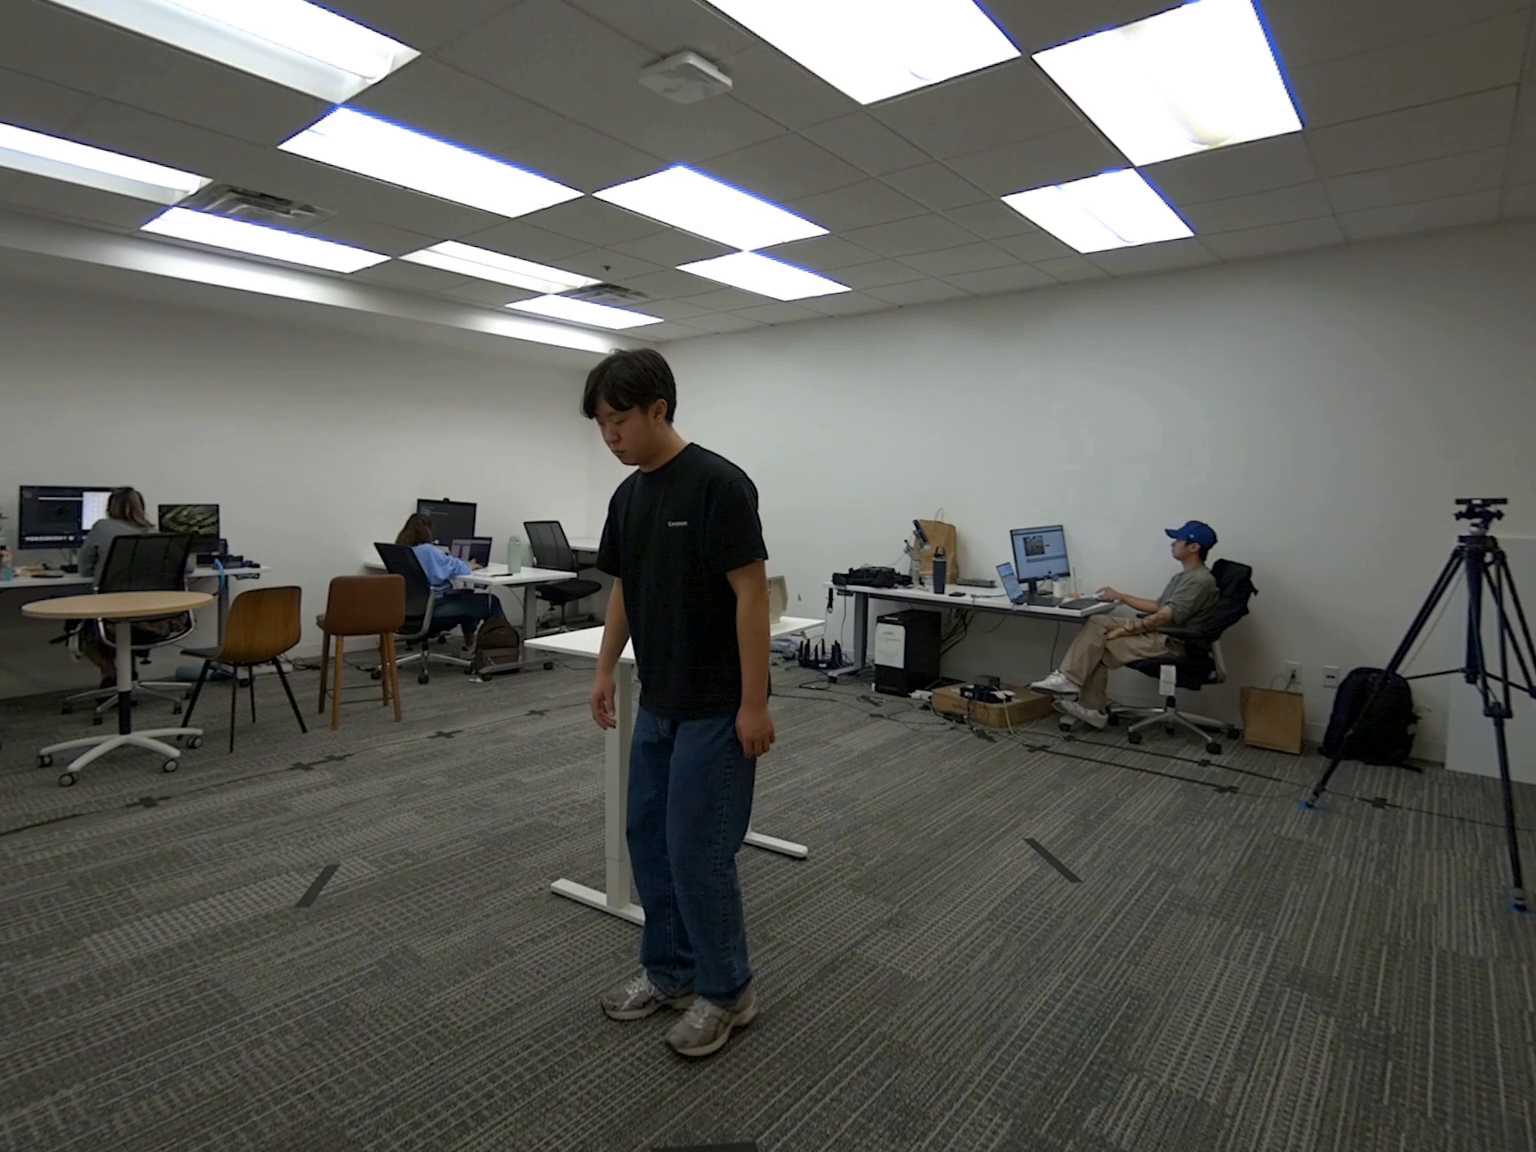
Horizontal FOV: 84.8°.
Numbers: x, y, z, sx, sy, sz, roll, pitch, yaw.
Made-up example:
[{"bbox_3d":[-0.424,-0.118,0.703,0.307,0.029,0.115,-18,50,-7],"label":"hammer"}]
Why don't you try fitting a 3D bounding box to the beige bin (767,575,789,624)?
[{"bbox_3d":[-0.210,0.085,3.243,0.436,0.188,0.367,5,8,35],"label":"beige bin"}]
